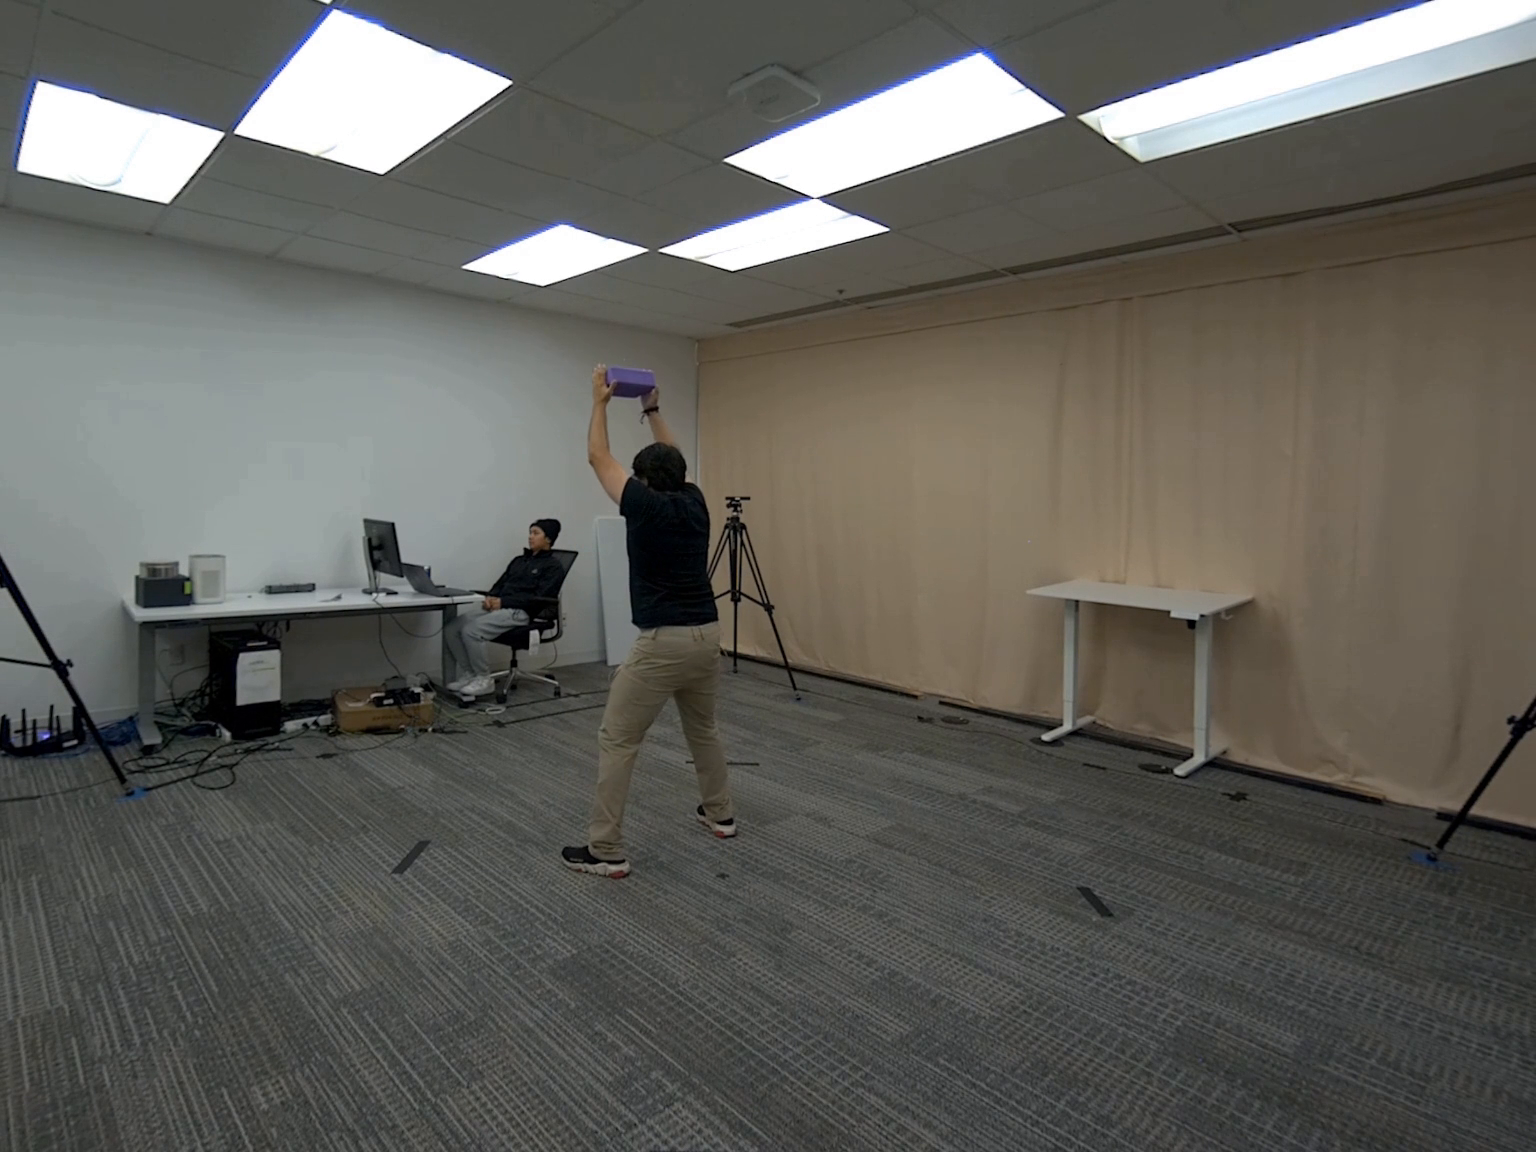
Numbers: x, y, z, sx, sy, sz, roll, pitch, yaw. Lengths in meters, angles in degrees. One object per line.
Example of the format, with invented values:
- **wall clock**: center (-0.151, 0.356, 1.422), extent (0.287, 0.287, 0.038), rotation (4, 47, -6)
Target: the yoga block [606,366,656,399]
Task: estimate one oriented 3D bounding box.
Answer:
- **yoga block**: center (-0.605, -0.803, 3.504), extent (0.151, 0.077, 0.224), rotation (-17, -7, 42)
